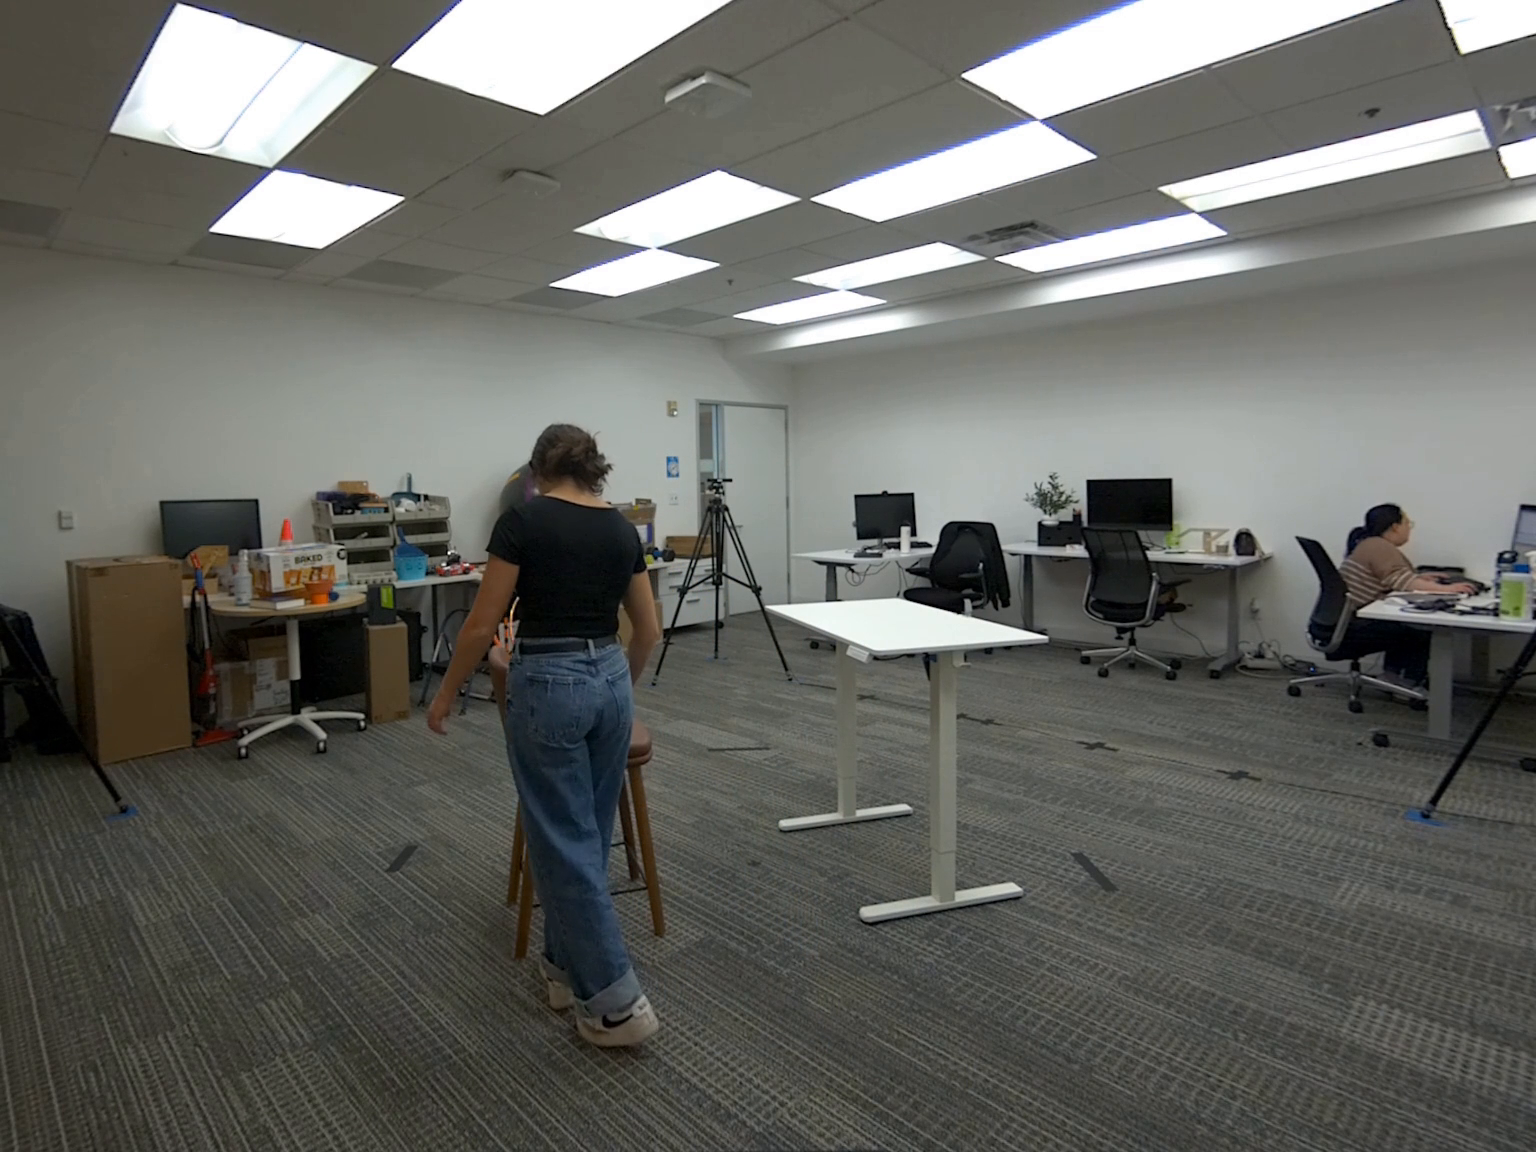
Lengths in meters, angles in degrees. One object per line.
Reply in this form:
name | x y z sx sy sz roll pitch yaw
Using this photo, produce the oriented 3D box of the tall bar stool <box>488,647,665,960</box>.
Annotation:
tall bar stool | -0.601 0.667 2.722 0.460 0.886 0.466 -4 5 -19
